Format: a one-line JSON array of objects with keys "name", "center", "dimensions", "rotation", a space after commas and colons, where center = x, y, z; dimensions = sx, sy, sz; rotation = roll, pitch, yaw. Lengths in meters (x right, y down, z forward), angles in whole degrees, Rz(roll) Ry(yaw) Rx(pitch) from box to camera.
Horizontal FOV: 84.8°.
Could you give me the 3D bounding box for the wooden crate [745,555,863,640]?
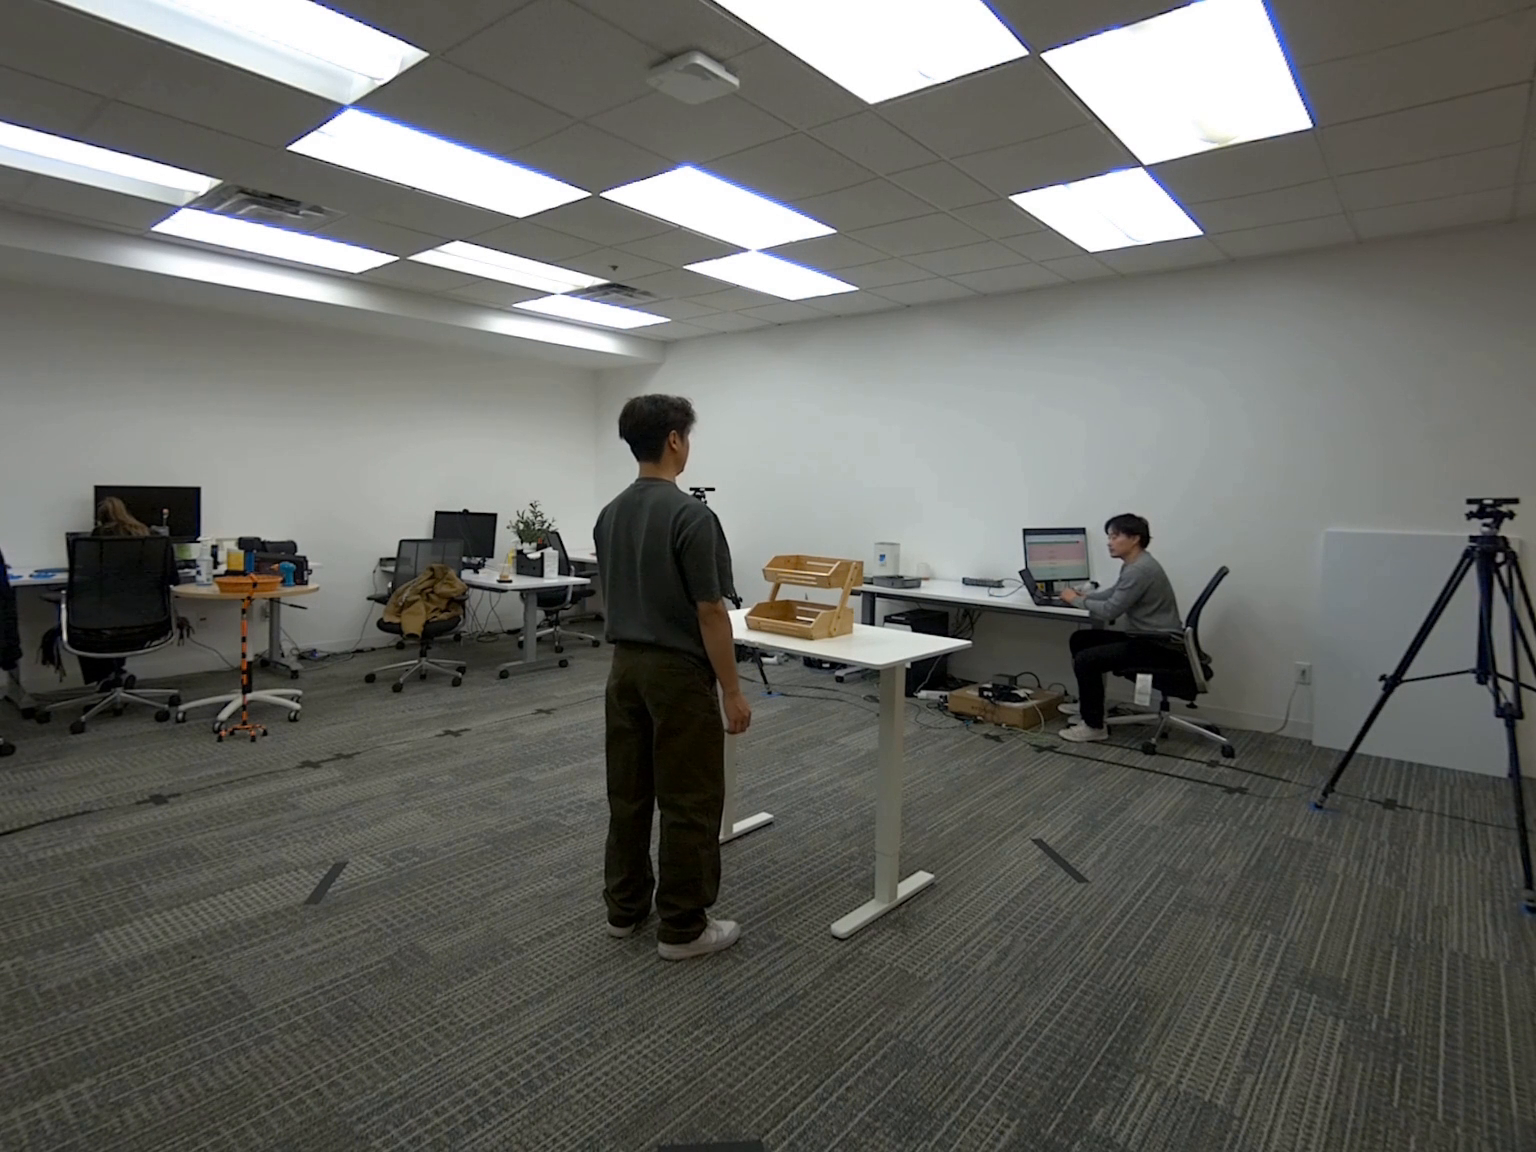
[{"name": "wooden crate", "center": [0.120, 0.064, 3.068], "dimensions": [0.336, 0.272, 0.293], "rotation": [6, 6, 41]}]
